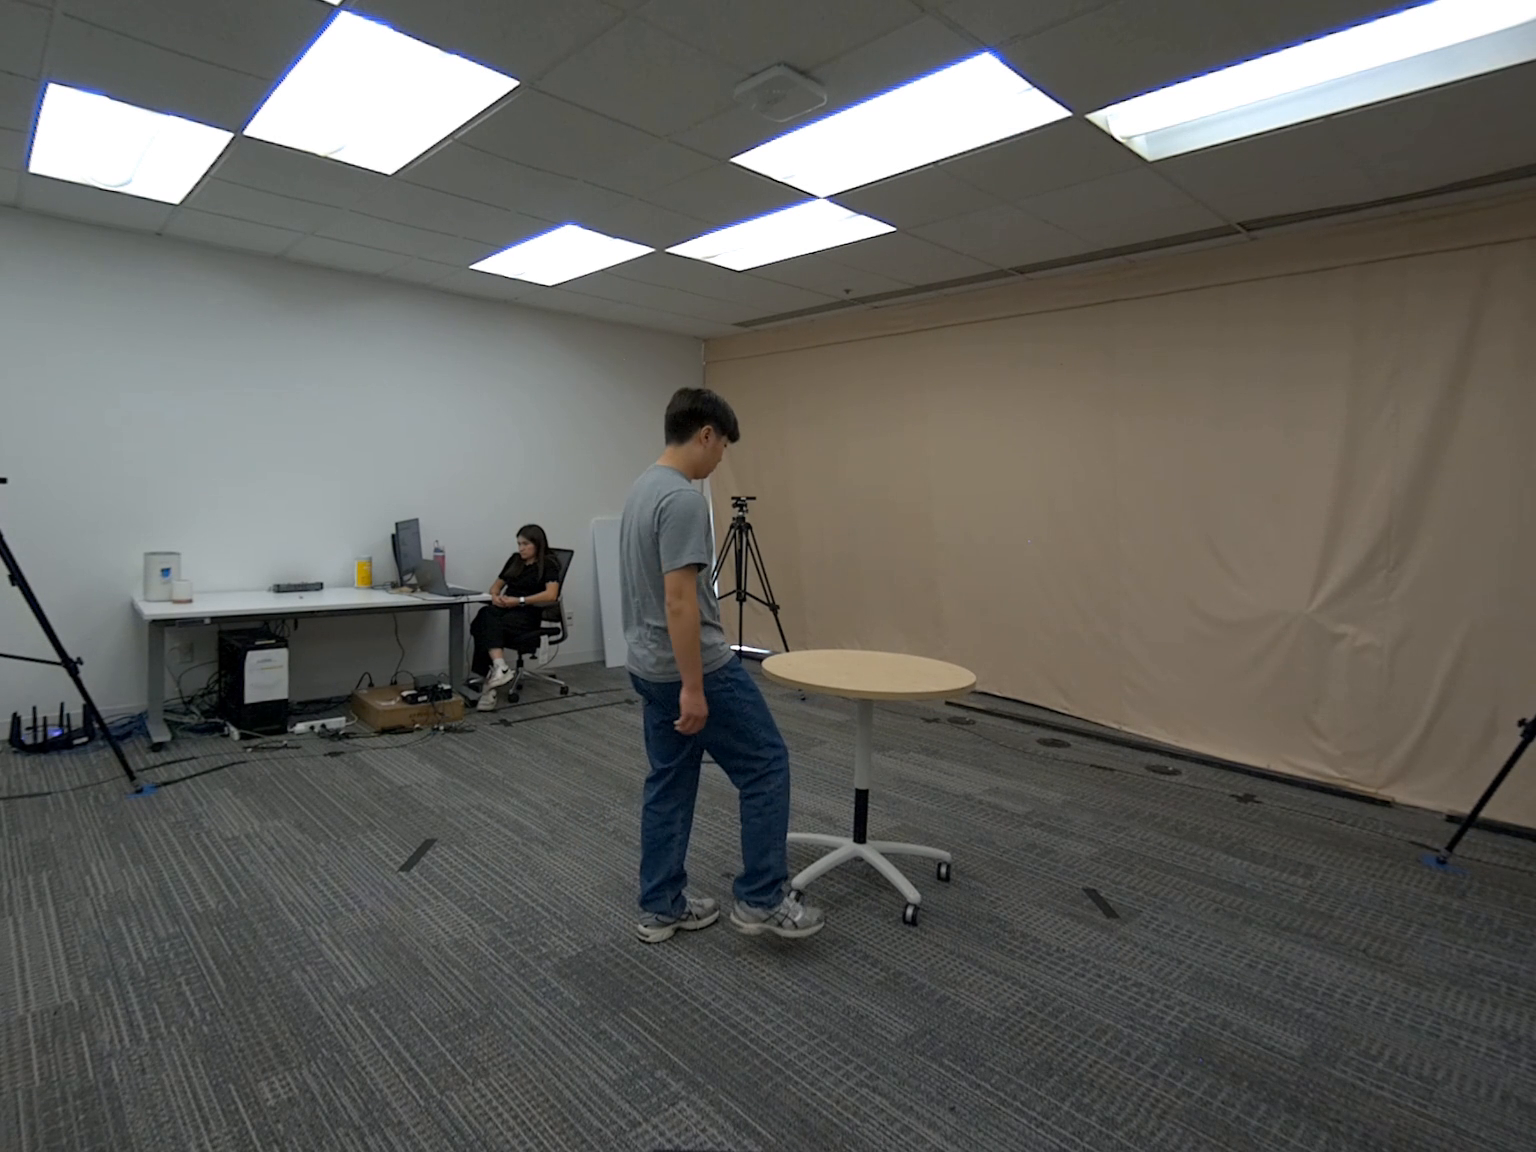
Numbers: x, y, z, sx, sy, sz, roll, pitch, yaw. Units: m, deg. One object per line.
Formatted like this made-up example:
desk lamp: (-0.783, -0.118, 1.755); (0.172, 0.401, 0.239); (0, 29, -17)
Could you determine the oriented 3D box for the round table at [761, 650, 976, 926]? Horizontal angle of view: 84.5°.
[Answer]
round table: (0.342, 0.733, 3.074); (0.763, 0.792, 0.766); (2, 4, -2)
